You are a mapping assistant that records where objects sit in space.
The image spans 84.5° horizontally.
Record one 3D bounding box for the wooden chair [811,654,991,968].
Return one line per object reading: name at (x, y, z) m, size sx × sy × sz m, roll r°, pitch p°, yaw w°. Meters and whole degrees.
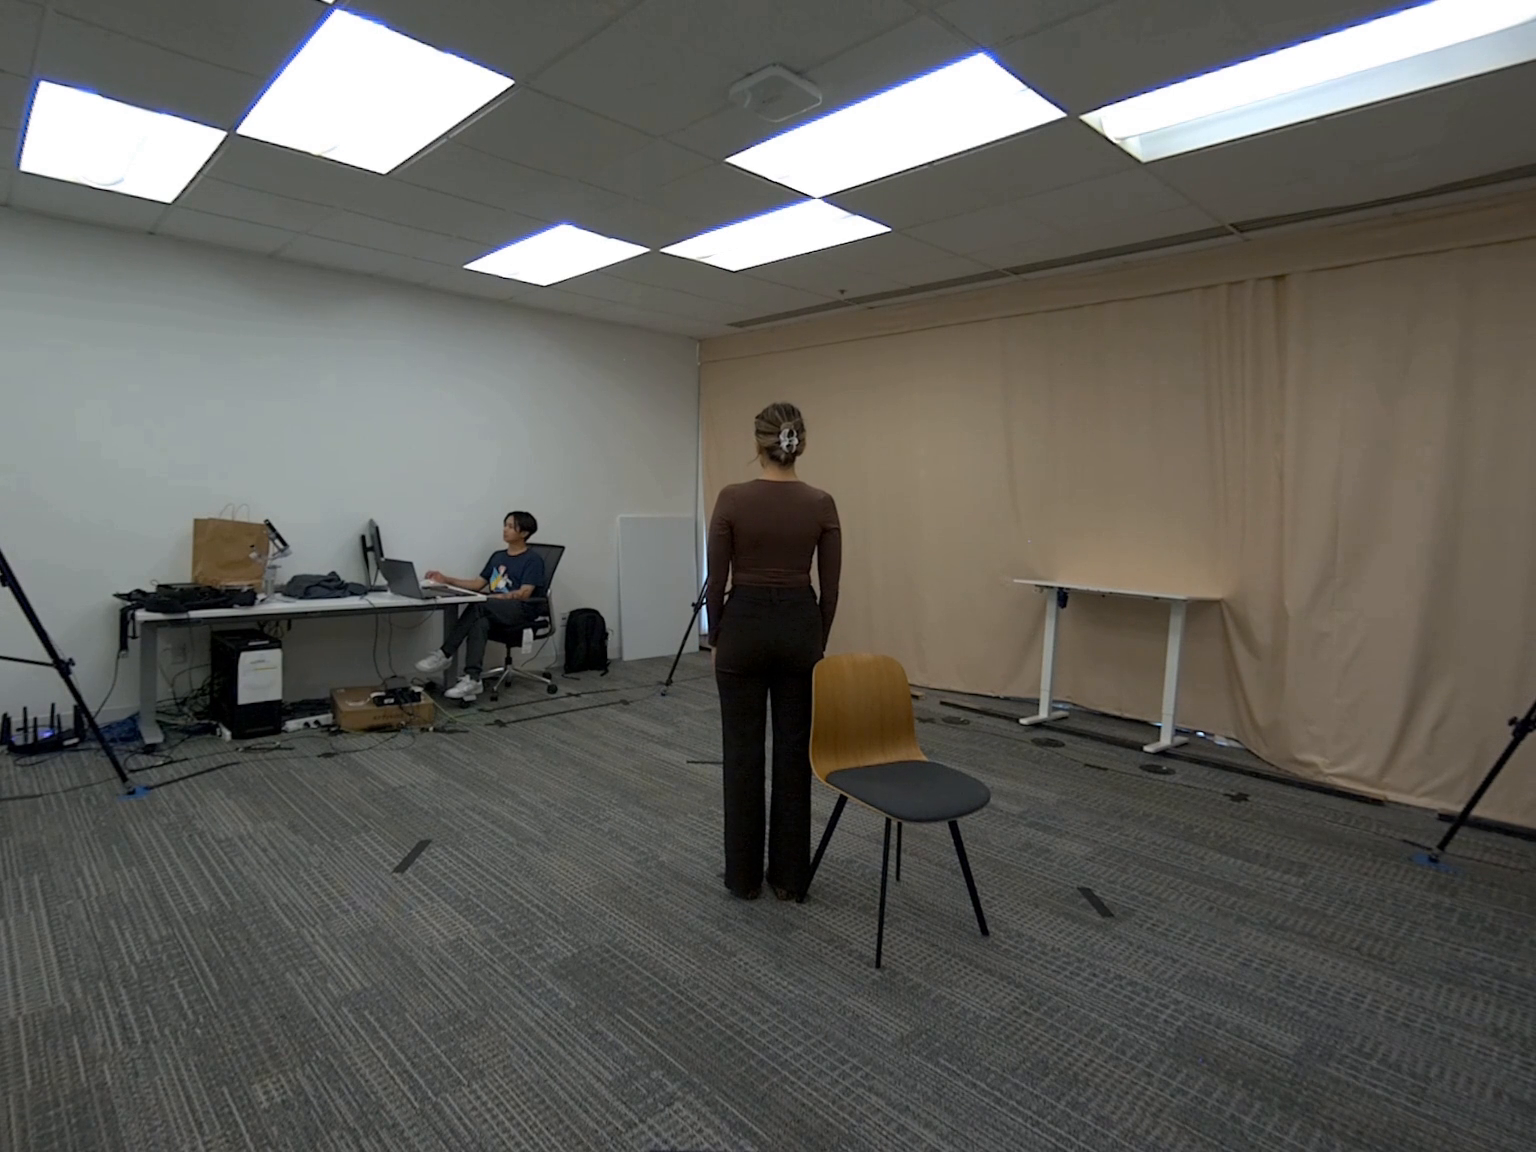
wooden chair at (0.420, 0.725, 2.775) m, size 0.468 × 0.878 × 0.533 m, roll 0°, pitch 0°, yaw -29°
